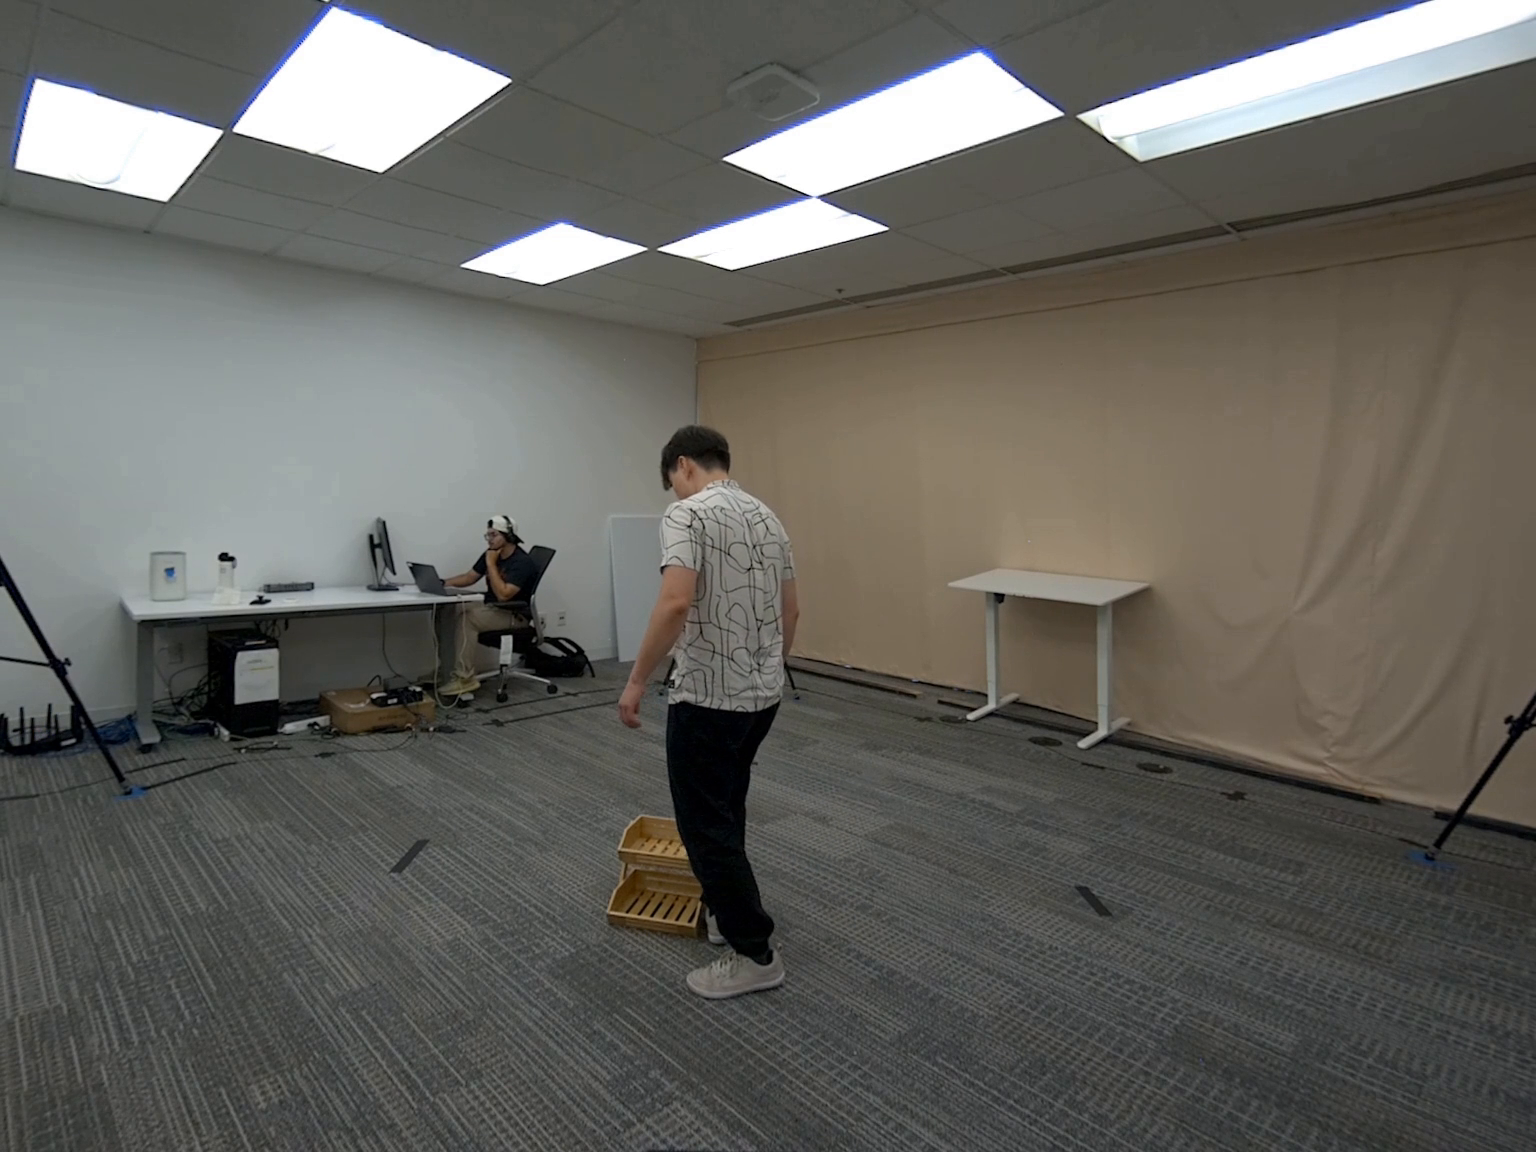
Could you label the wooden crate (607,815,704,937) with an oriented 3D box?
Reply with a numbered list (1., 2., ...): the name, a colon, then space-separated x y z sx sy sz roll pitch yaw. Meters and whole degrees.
1. wooden crate: -0.346 0.997 2.804 0.328 0.273 0.299 3 4 12
